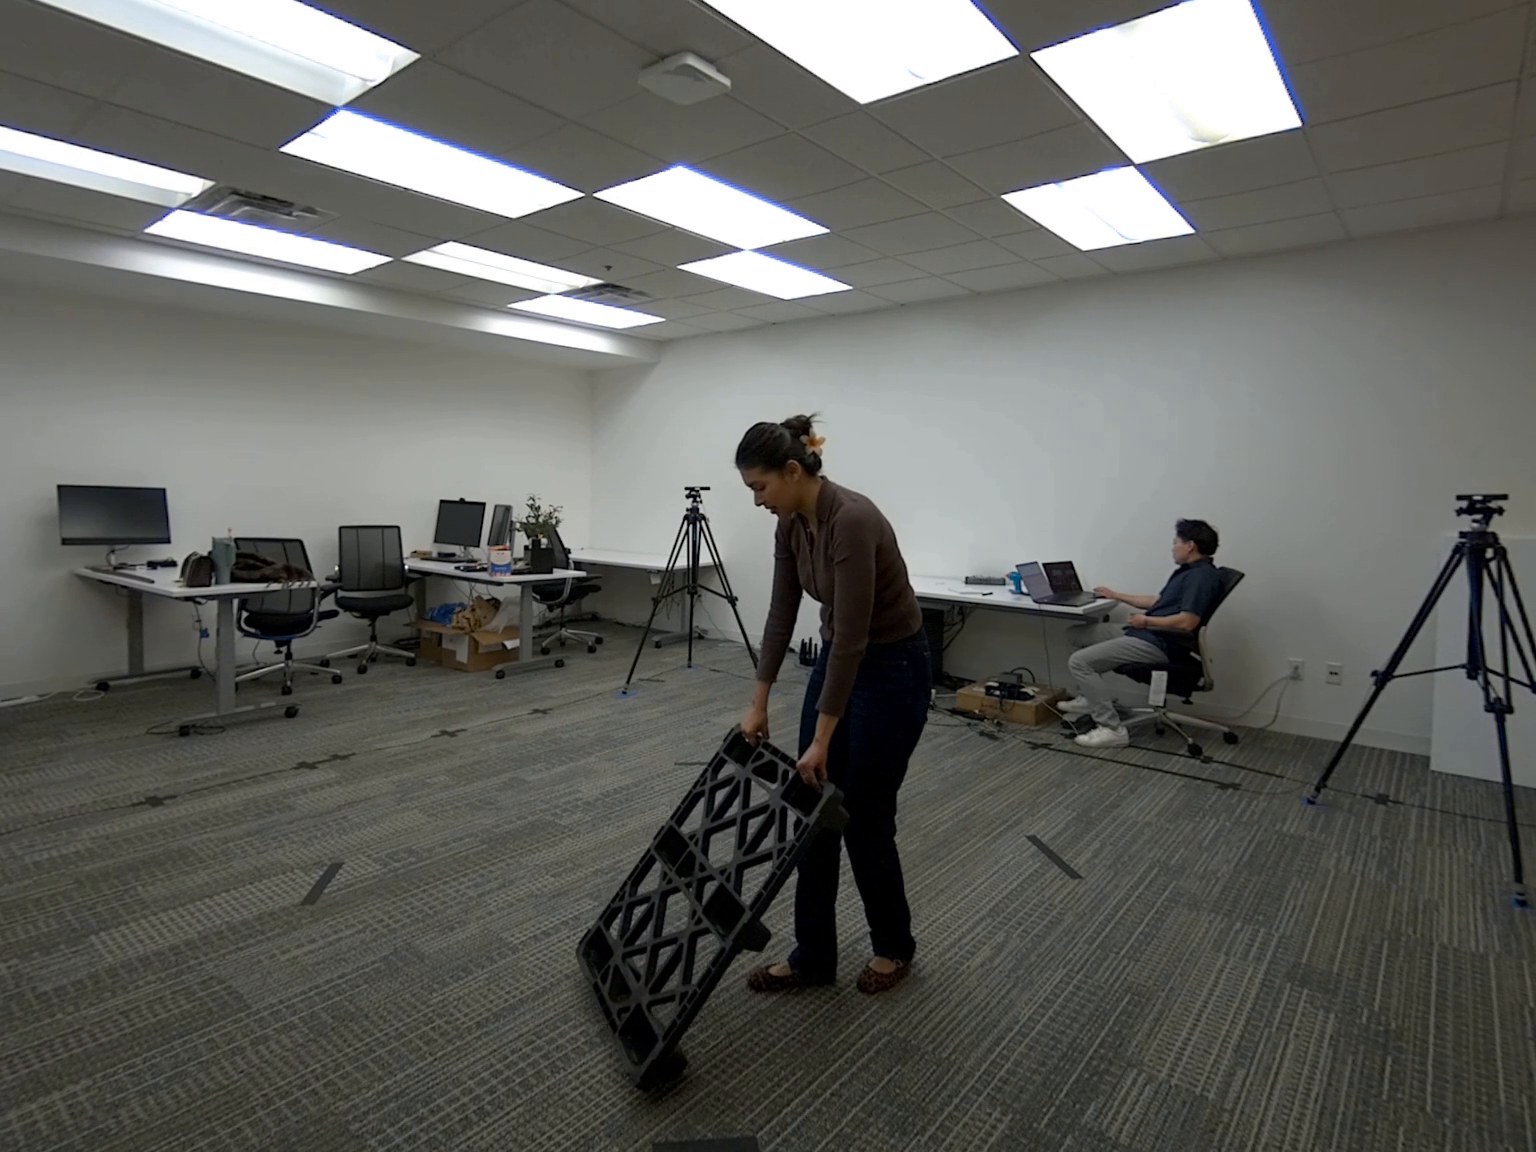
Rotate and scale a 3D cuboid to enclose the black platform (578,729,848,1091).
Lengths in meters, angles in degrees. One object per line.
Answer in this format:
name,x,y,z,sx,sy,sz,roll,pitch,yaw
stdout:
black platform,-0.151,0.825,2.254,0.139,0.807,0.622,40,-11,-24
